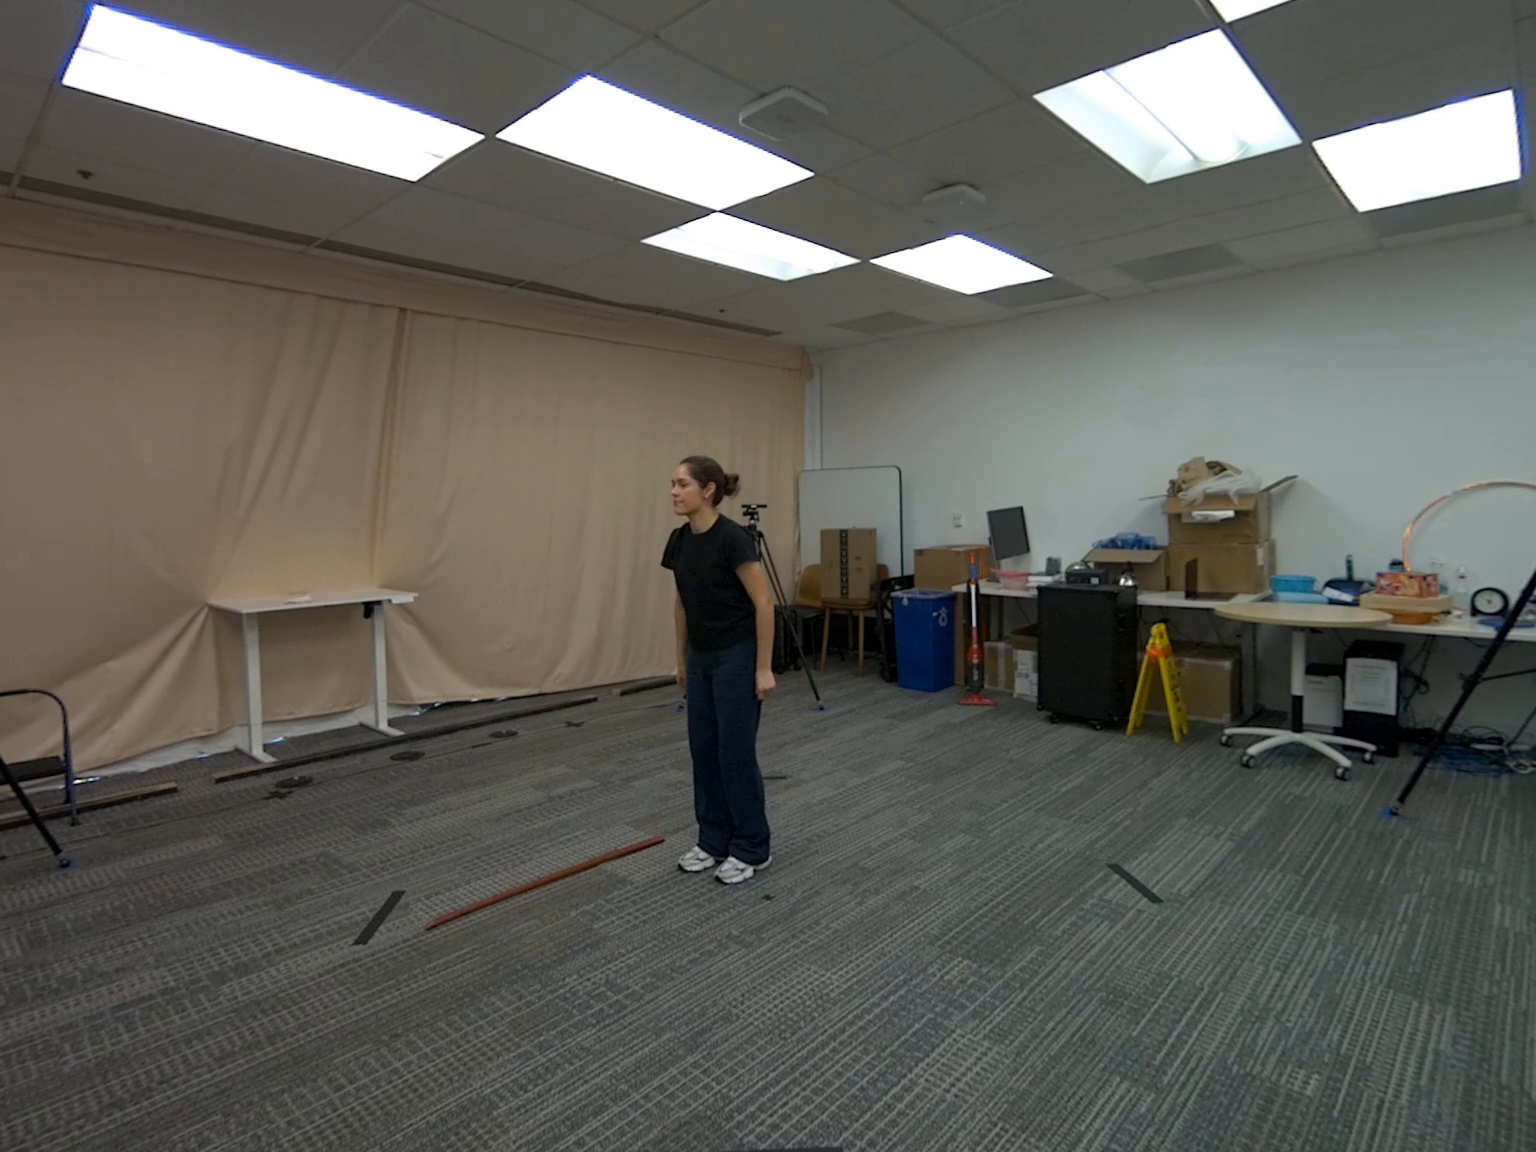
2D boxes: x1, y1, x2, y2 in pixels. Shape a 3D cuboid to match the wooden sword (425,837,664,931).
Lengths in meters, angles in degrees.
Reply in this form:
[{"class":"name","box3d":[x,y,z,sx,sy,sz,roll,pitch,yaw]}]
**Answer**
[{"class":"wooden sword","box3d":[-0.785,1.116,3.151,0.994,0.024,0.052,-6,-10,-45]}]
